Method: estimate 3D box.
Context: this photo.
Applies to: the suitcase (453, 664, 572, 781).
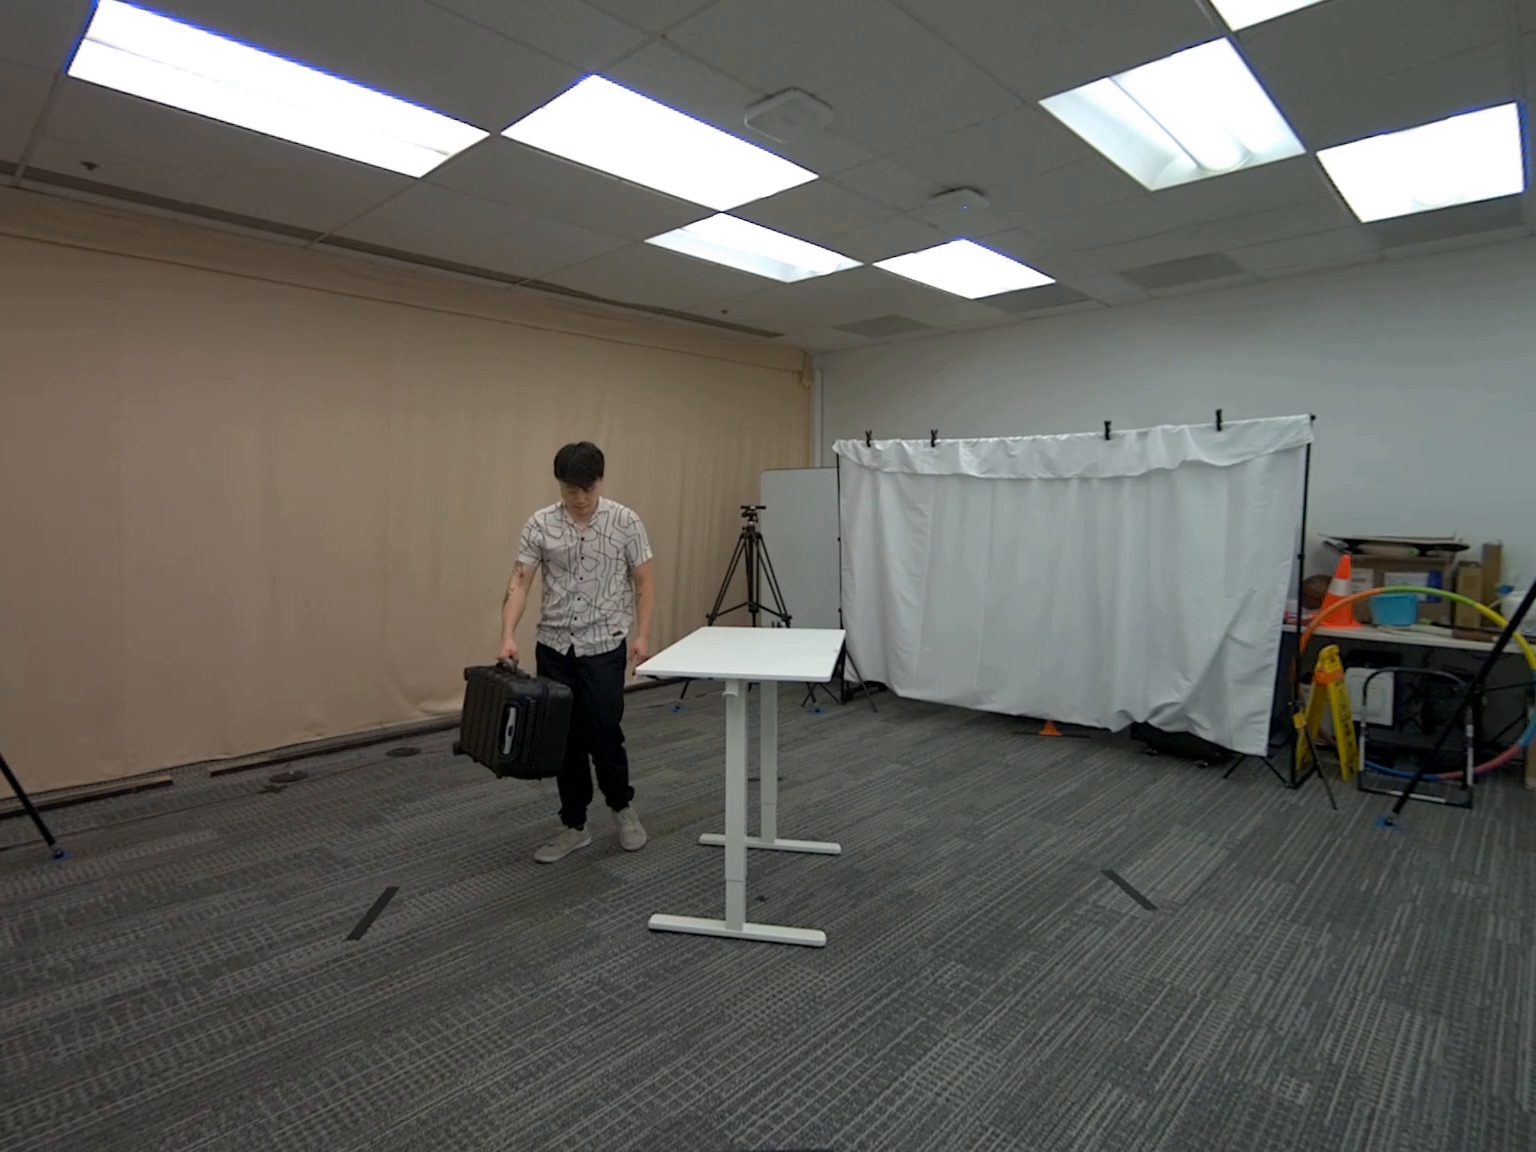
[{"bbox_3d":[-0.956,0.537,3.166,0.240,0.376,0.566,10,-5,-36],"label":"suitcase"}]
